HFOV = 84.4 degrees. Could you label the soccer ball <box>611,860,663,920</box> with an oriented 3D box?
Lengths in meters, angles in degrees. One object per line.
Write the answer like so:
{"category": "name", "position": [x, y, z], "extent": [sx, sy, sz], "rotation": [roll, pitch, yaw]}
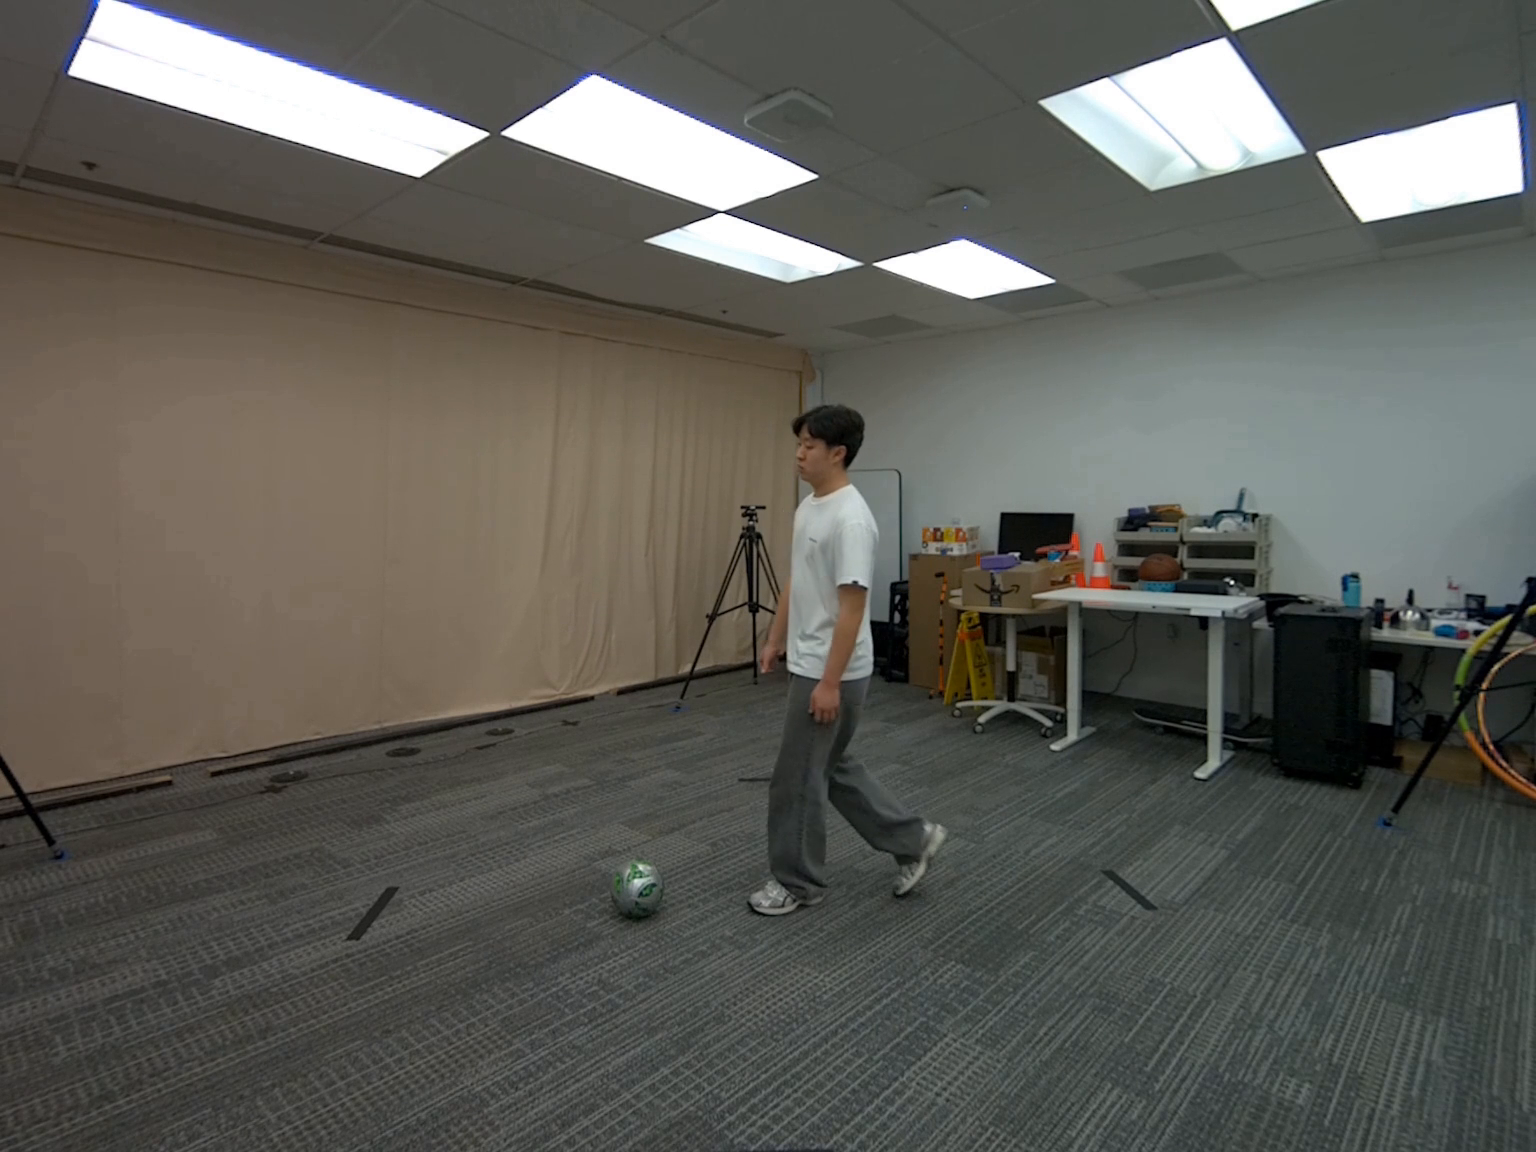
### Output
{"category": "soccer ball", "position": [-0.437, 1.068, 2.876], "extent": [0.187, 0.187, 0.188], "rotation": [0, 4, -2]}
